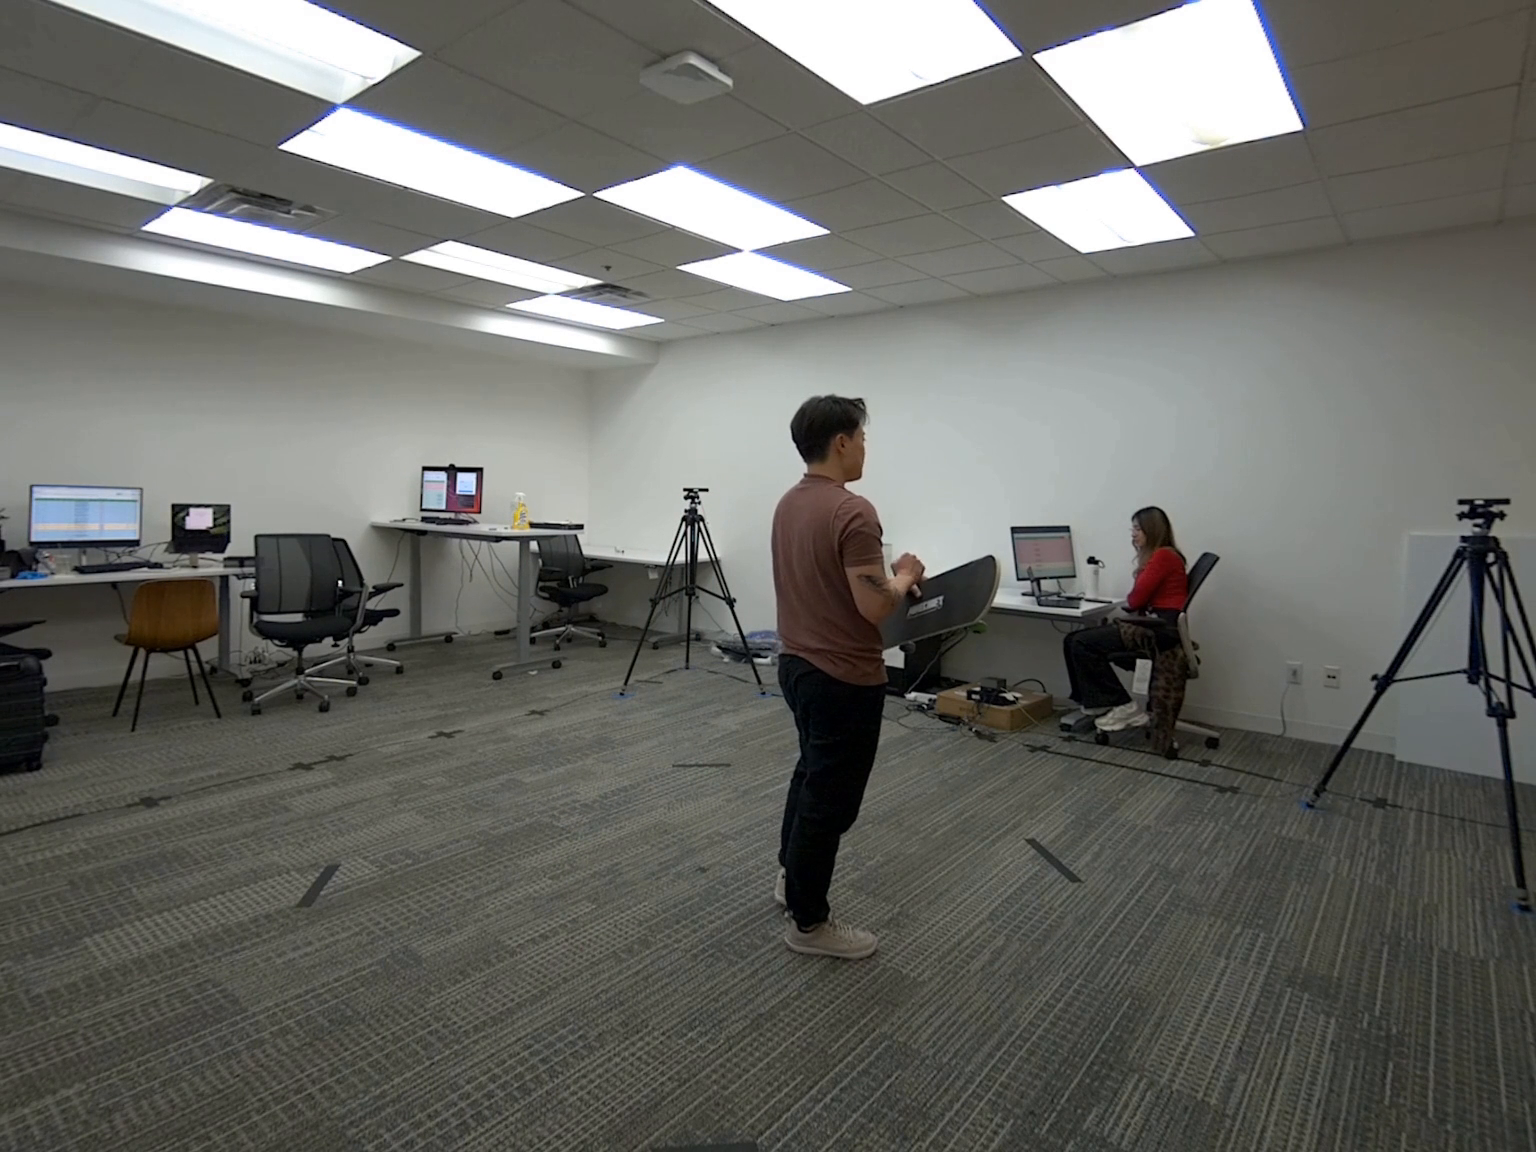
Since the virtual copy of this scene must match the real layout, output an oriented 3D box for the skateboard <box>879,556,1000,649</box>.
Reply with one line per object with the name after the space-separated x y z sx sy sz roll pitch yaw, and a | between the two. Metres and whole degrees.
0.500 0.108 2.582 0.108 0.196 0.789 18 -20 -16 | skateboard
